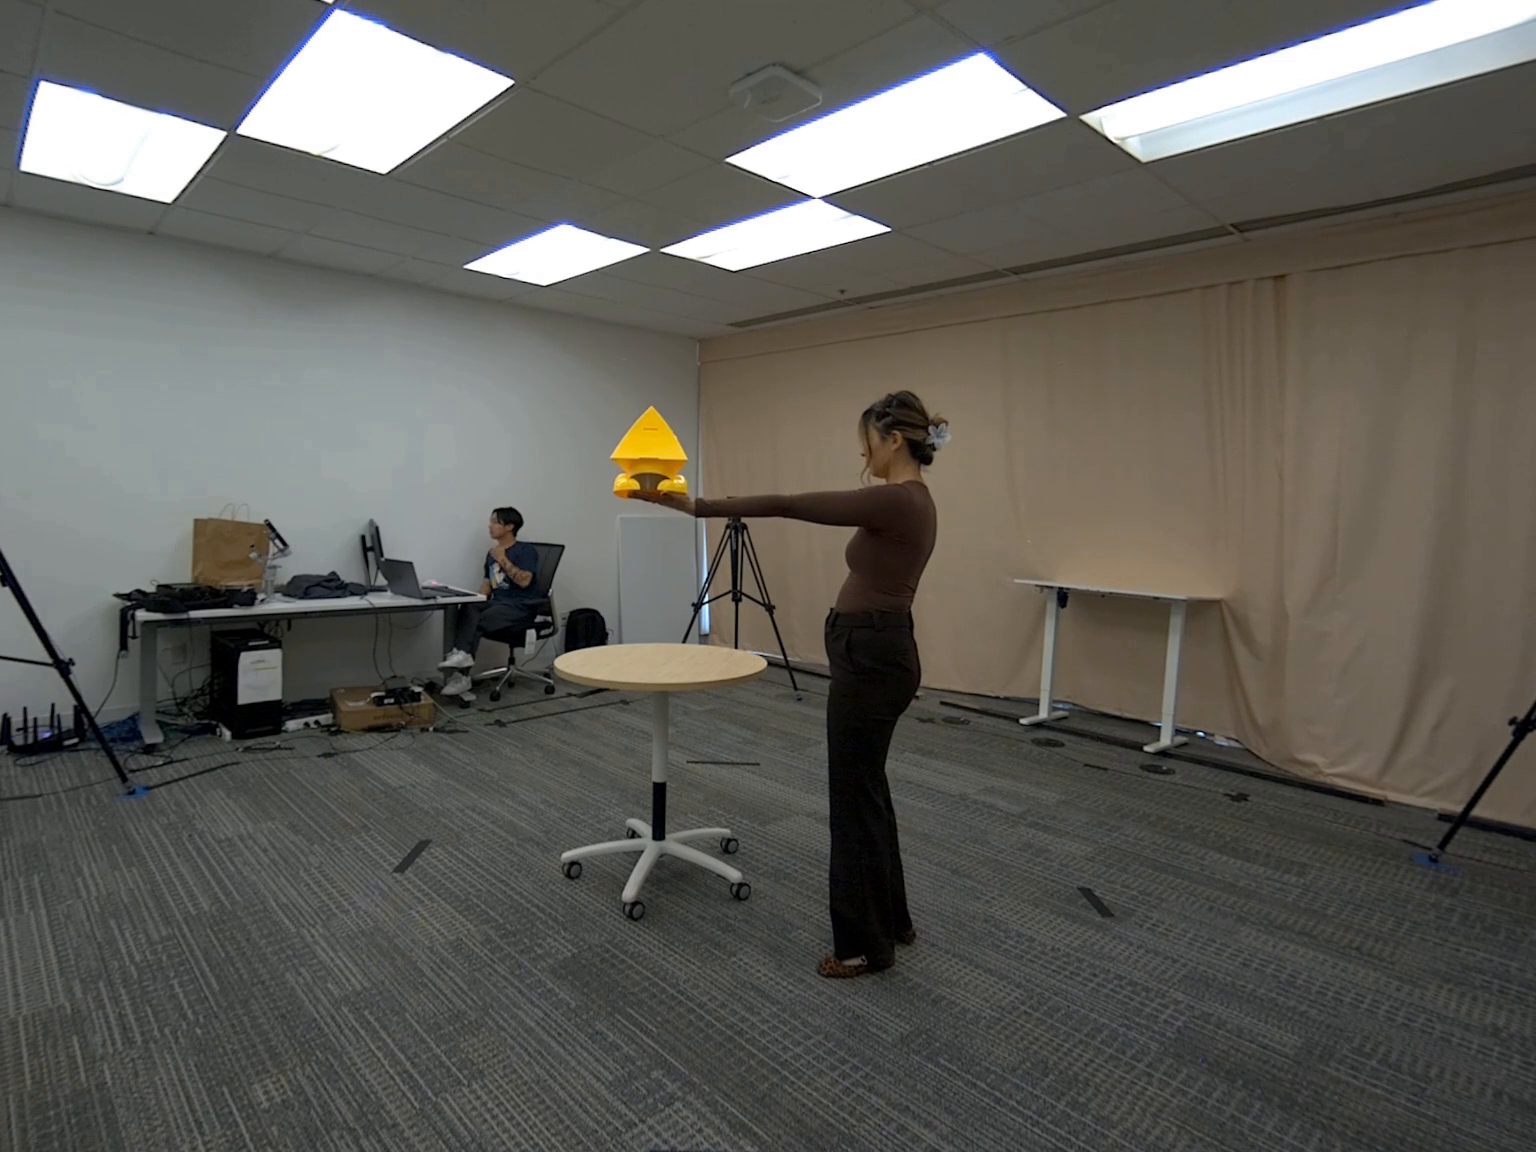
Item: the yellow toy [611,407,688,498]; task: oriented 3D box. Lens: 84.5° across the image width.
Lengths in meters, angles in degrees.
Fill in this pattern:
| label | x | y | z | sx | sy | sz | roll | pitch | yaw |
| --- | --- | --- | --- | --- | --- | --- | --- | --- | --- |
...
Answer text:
| label | x | y | z | sx | sy | sz | roll | pitch | yaw |
| --- | --- | --- | --- | --- | --- | --- | --- | --- | --- |
| yellow toy | -0.322 | -0.336 | 2.308 | 0.204 | 0.232 | 0.192 | 1 | -6 | -3 |
